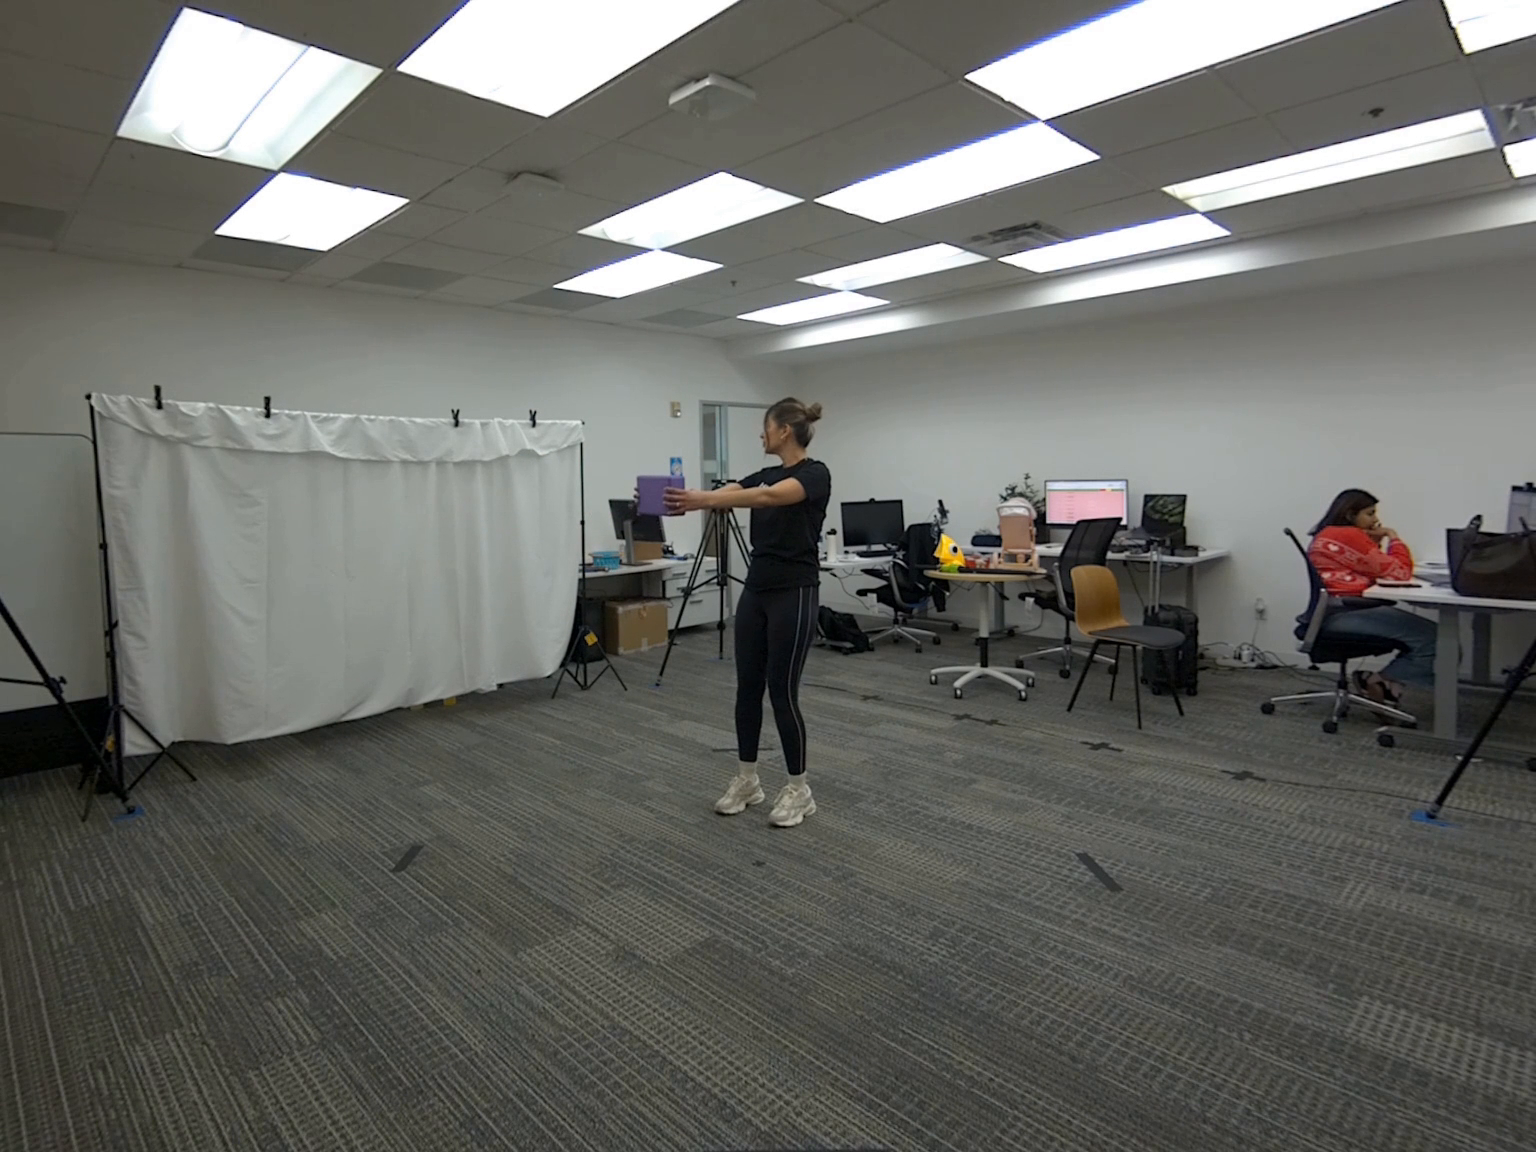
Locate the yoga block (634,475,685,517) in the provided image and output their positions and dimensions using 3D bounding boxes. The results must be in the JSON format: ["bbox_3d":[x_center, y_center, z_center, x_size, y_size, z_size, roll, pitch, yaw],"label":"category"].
[{"bbox_3d":[-0.394,-0.306,3.217,0.236,0.147,0.075,6,13,39],"label":"yoga block"}]
